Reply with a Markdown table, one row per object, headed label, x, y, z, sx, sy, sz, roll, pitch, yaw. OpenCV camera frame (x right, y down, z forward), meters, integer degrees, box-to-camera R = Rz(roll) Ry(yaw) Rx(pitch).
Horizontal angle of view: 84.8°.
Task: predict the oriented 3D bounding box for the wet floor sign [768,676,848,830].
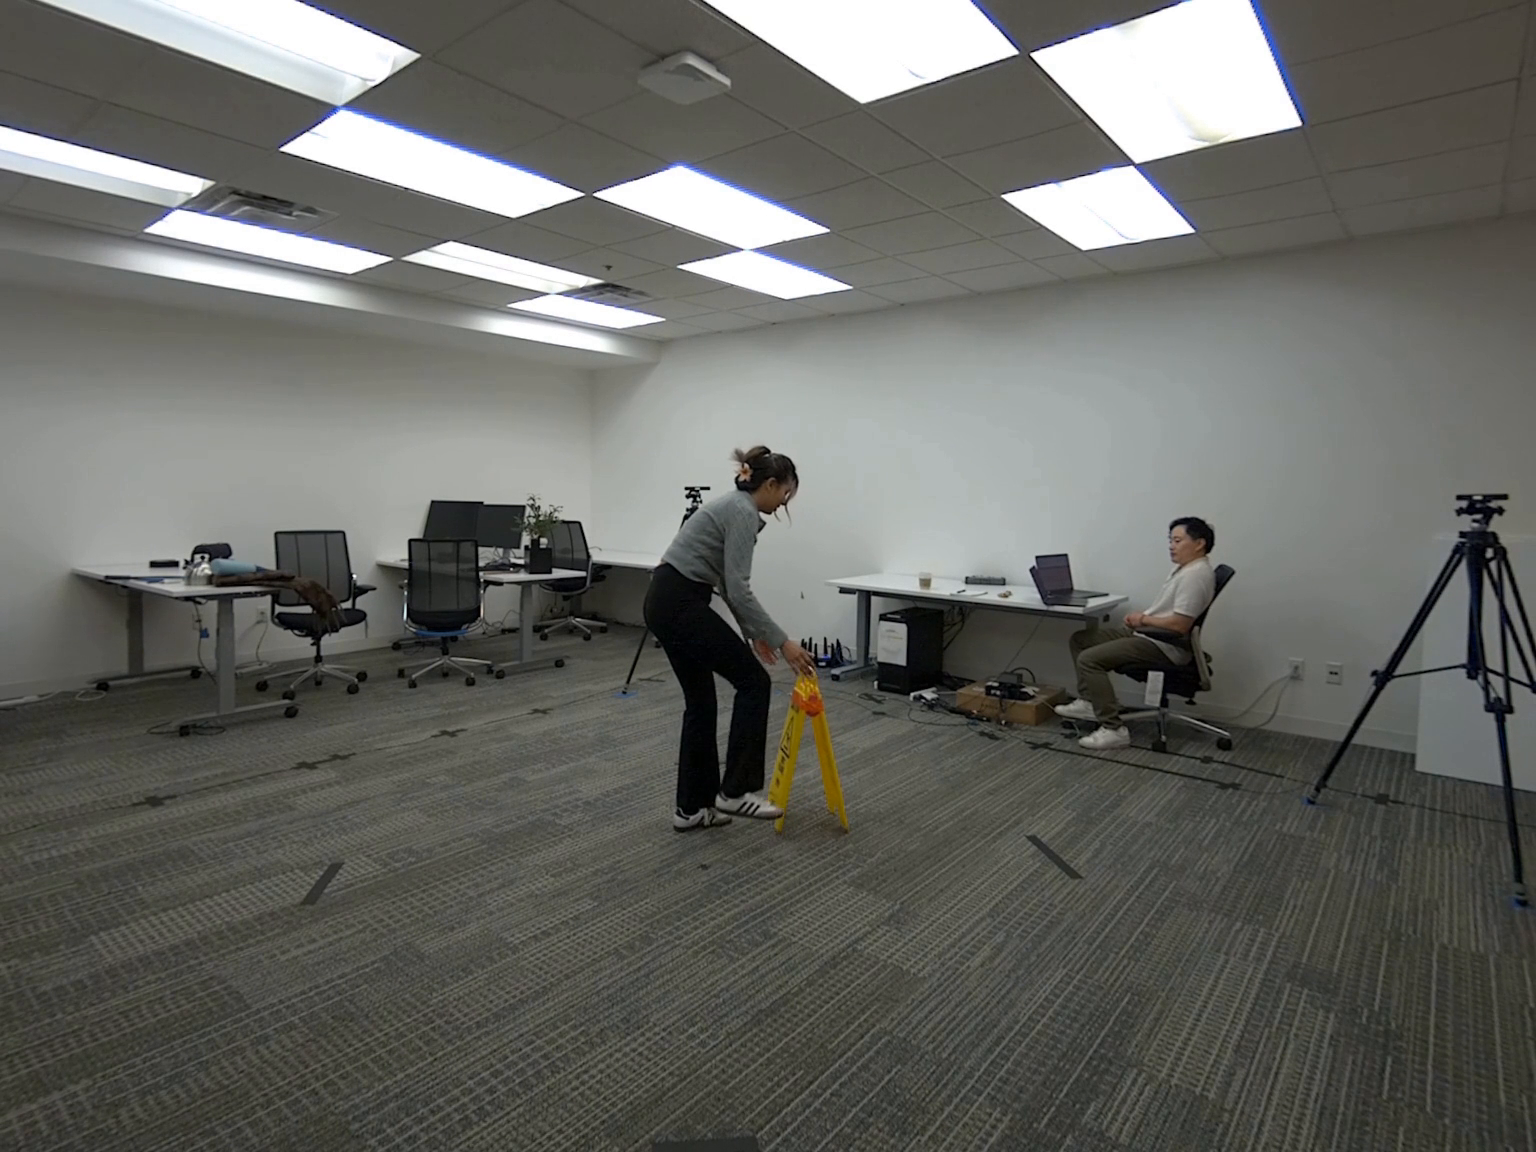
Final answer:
| label | x | y | z | sx | sy | sz | roll | pitch | yaw |
| --- | --- | --- | --- | --- | --- | --- | --- | --- | --- |
| wet floor sign | 0.159 | 0.700 | 3.561 | 0.287 | 0.645 | 0.286 | 1 | 2 | -10 |
